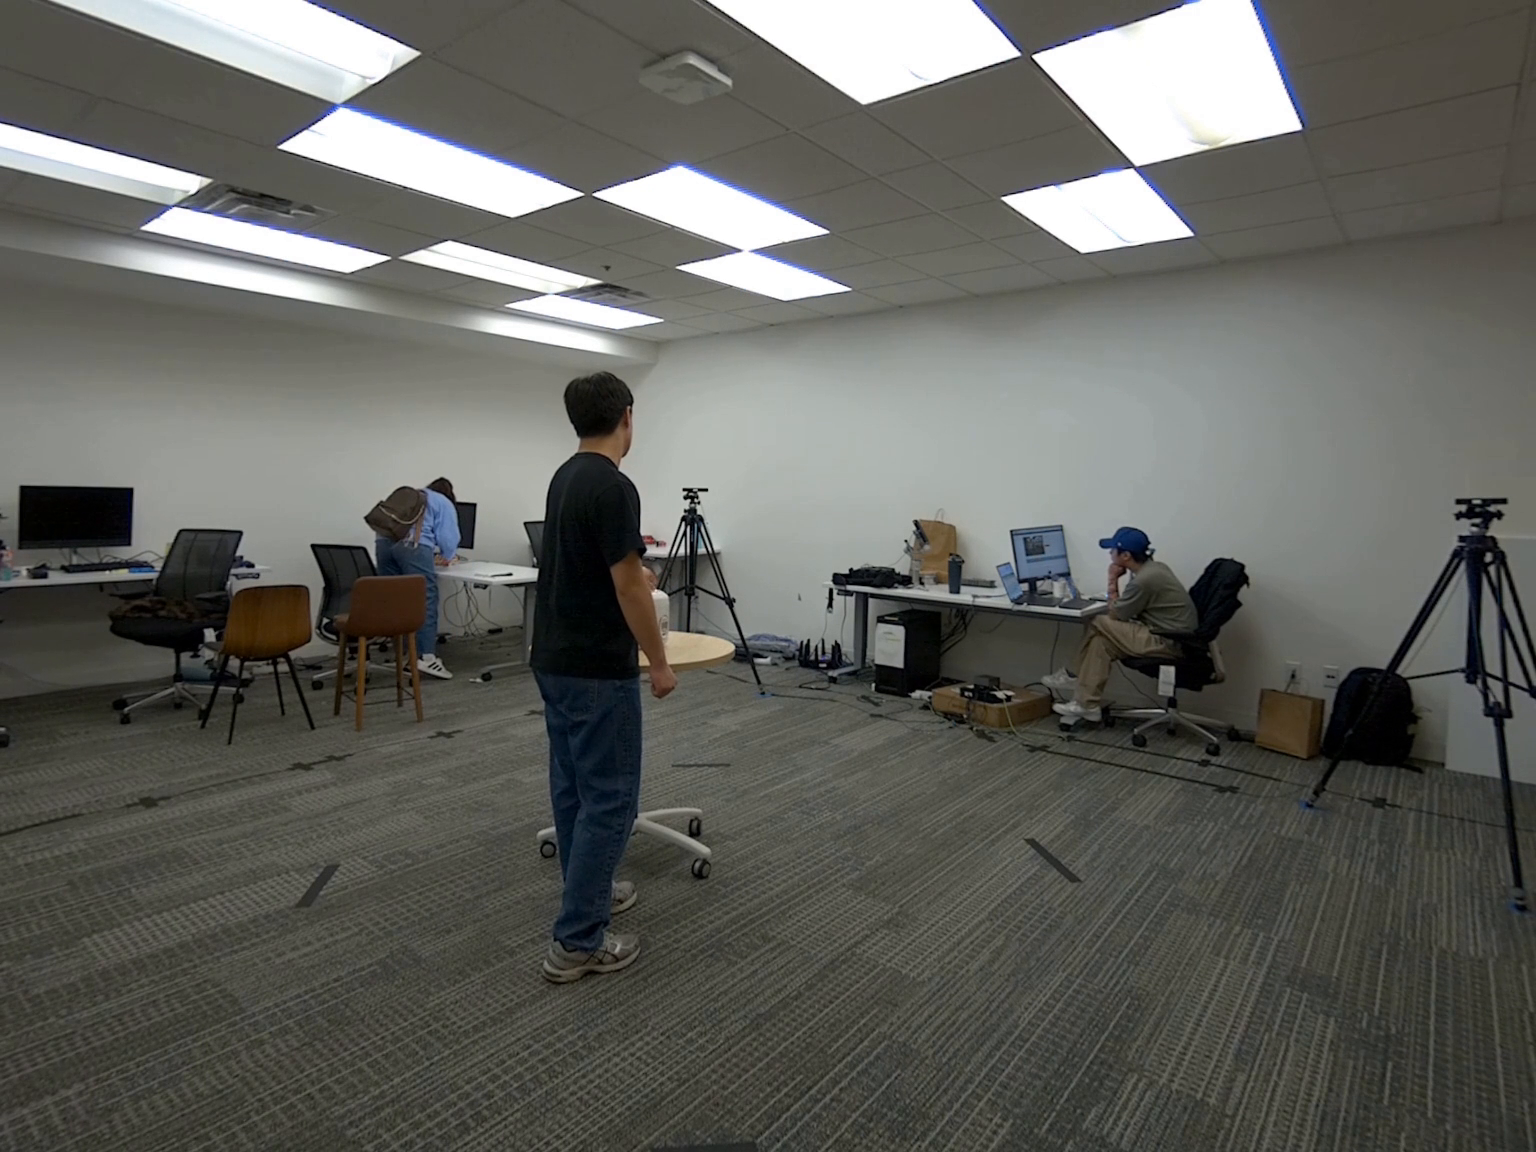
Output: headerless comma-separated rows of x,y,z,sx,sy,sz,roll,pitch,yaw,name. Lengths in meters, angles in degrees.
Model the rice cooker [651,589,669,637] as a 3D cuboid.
-0.480,0.143,3.193,0.224,0.232,0.215,1,3,30,rice cooker
